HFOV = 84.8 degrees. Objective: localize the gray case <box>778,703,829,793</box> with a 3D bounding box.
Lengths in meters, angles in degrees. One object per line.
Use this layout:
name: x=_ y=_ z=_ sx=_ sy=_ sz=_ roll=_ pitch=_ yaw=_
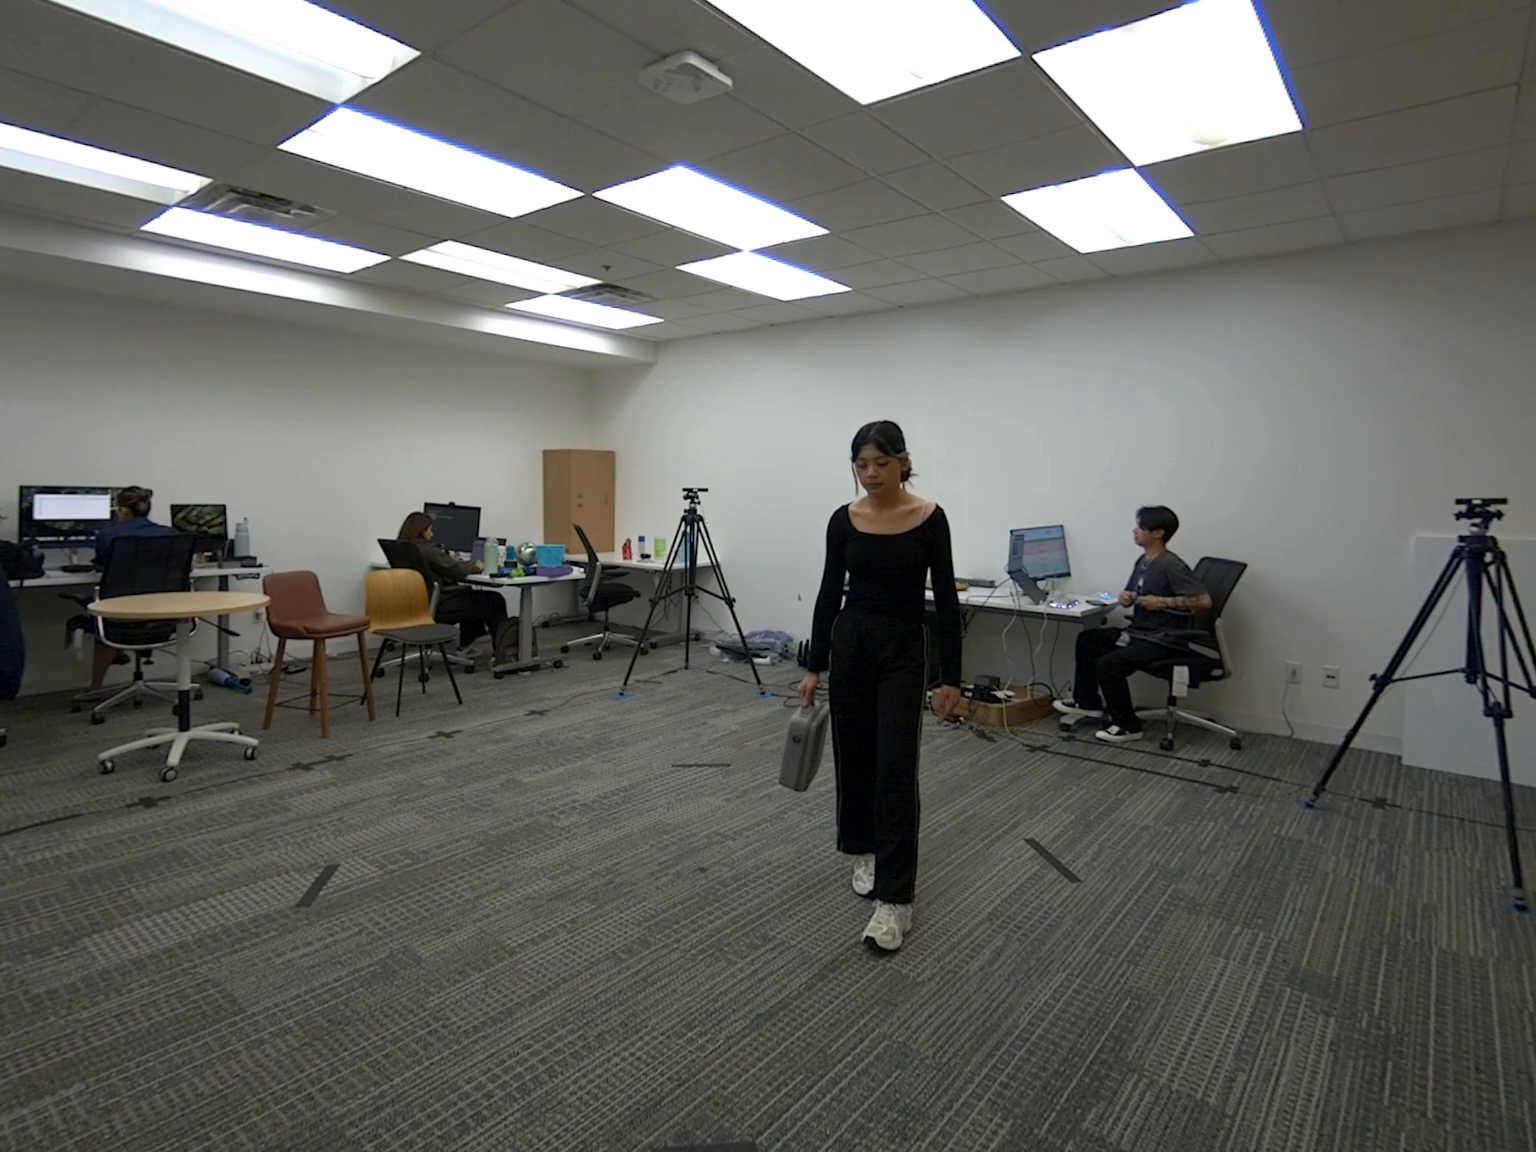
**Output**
gray case: x=0.125 y=0.580 z=2.952 sx=0.106 sy=0.259 sz=0.253 roll=9 pitch=8 yaw=15
